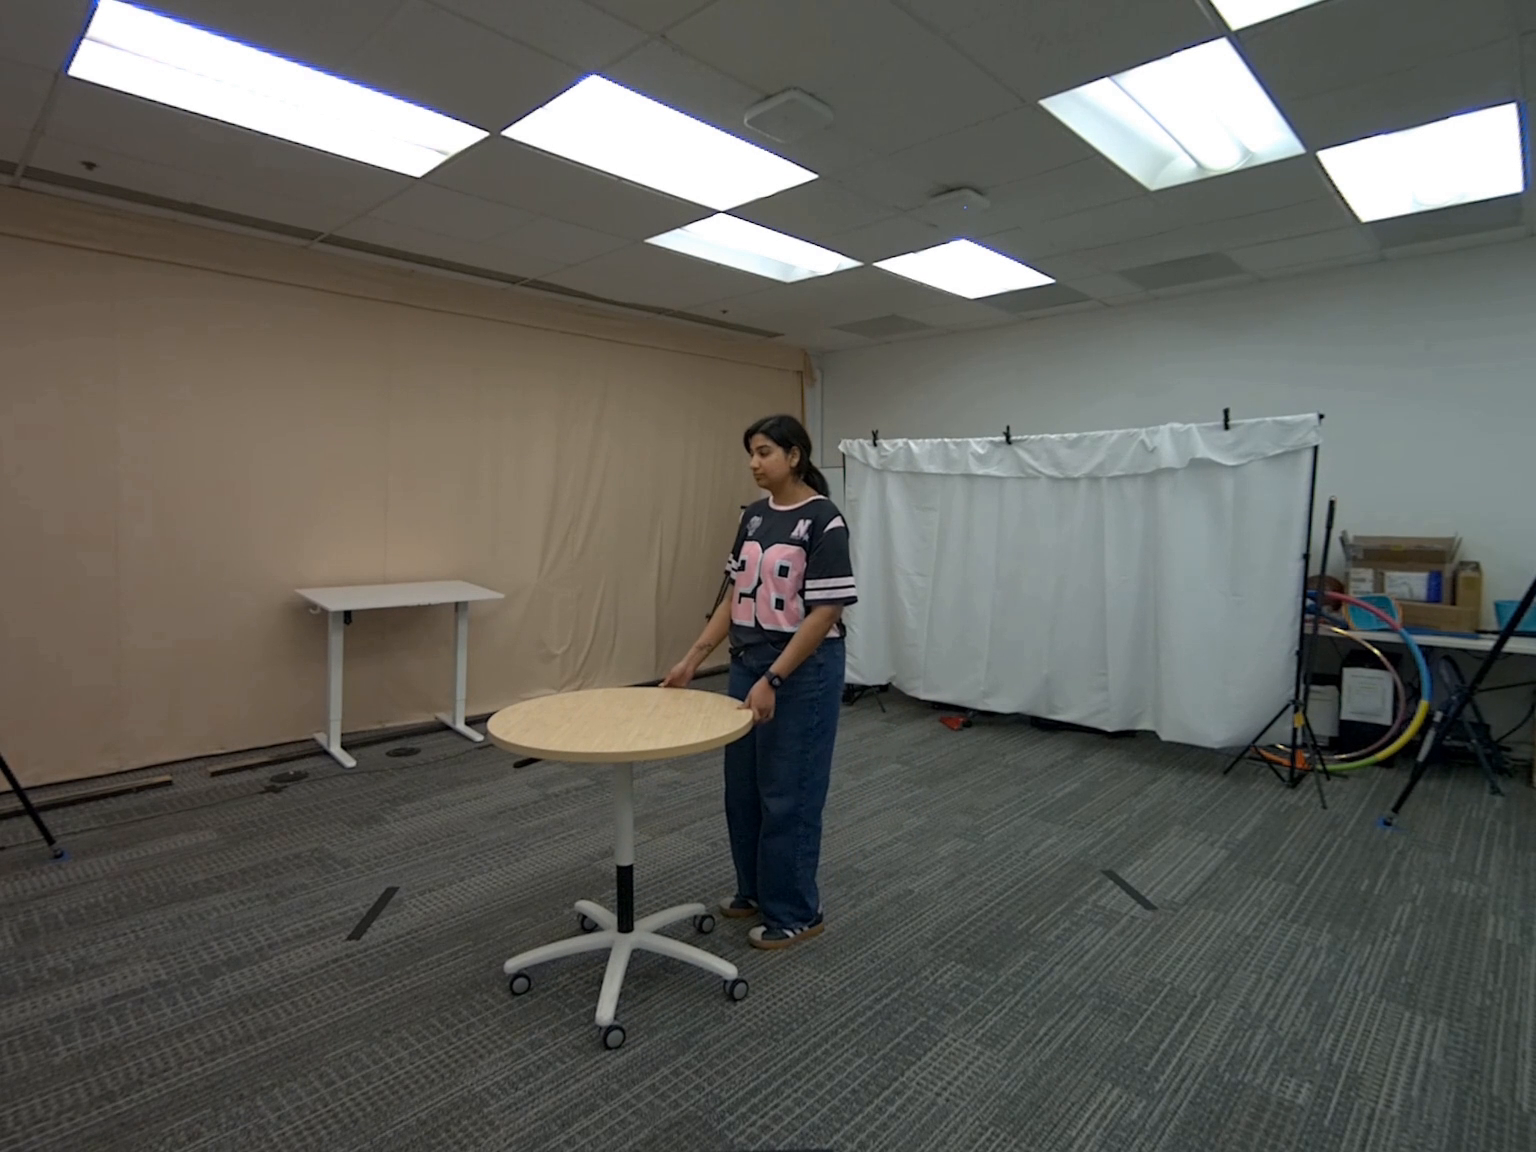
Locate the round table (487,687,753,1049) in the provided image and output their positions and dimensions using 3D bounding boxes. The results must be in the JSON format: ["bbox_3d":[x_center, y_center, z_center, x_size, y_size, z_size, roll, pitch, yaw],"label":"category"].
[{"bbox_3d":[-0.405,0.794,2.485,0.784,0.785,0.788,-1,3,-2],"label":"round table"}]
